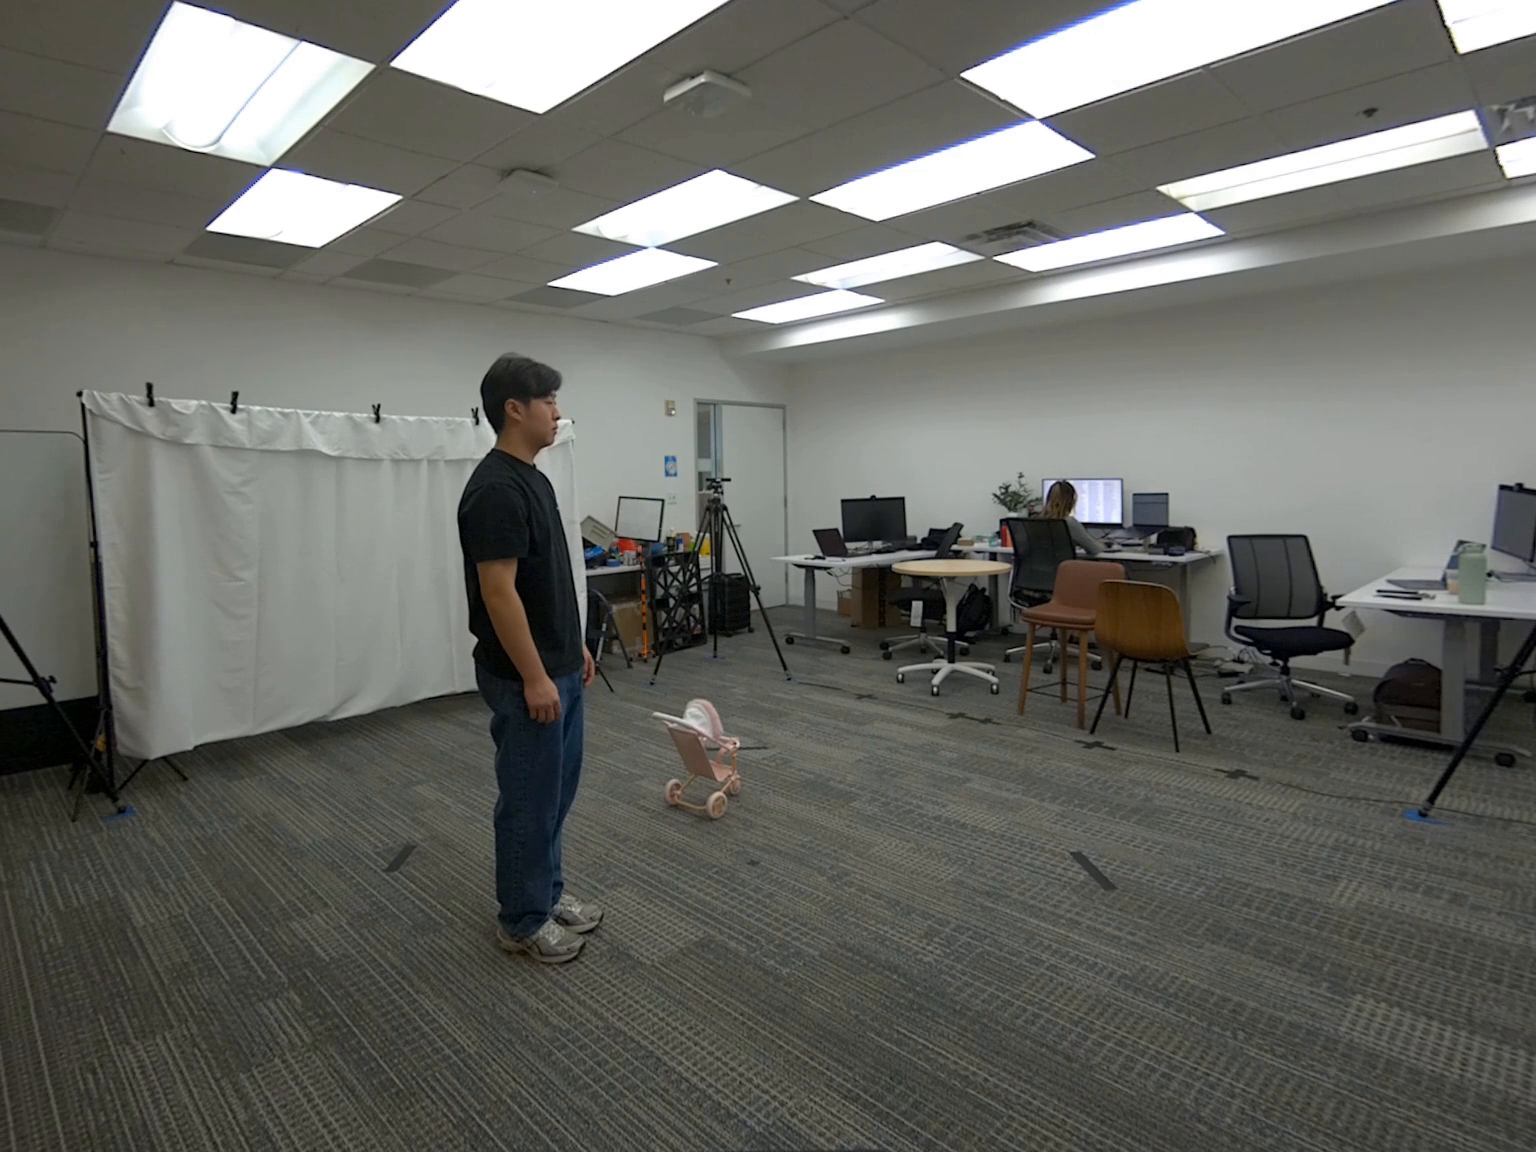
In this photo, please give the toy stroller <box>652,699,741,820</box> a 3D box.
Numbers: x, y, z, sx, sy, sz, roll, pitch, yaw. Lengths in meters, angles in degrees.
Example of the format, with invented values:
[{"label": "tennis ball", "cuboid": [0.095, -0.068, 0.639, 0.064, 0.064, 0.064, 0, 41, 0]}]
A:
[{"label": "toy stroller", "cuboid": [-0.268, 0.759, 3.635, 0.290, 0.527, 0.336, 3, 20, 44]}]
